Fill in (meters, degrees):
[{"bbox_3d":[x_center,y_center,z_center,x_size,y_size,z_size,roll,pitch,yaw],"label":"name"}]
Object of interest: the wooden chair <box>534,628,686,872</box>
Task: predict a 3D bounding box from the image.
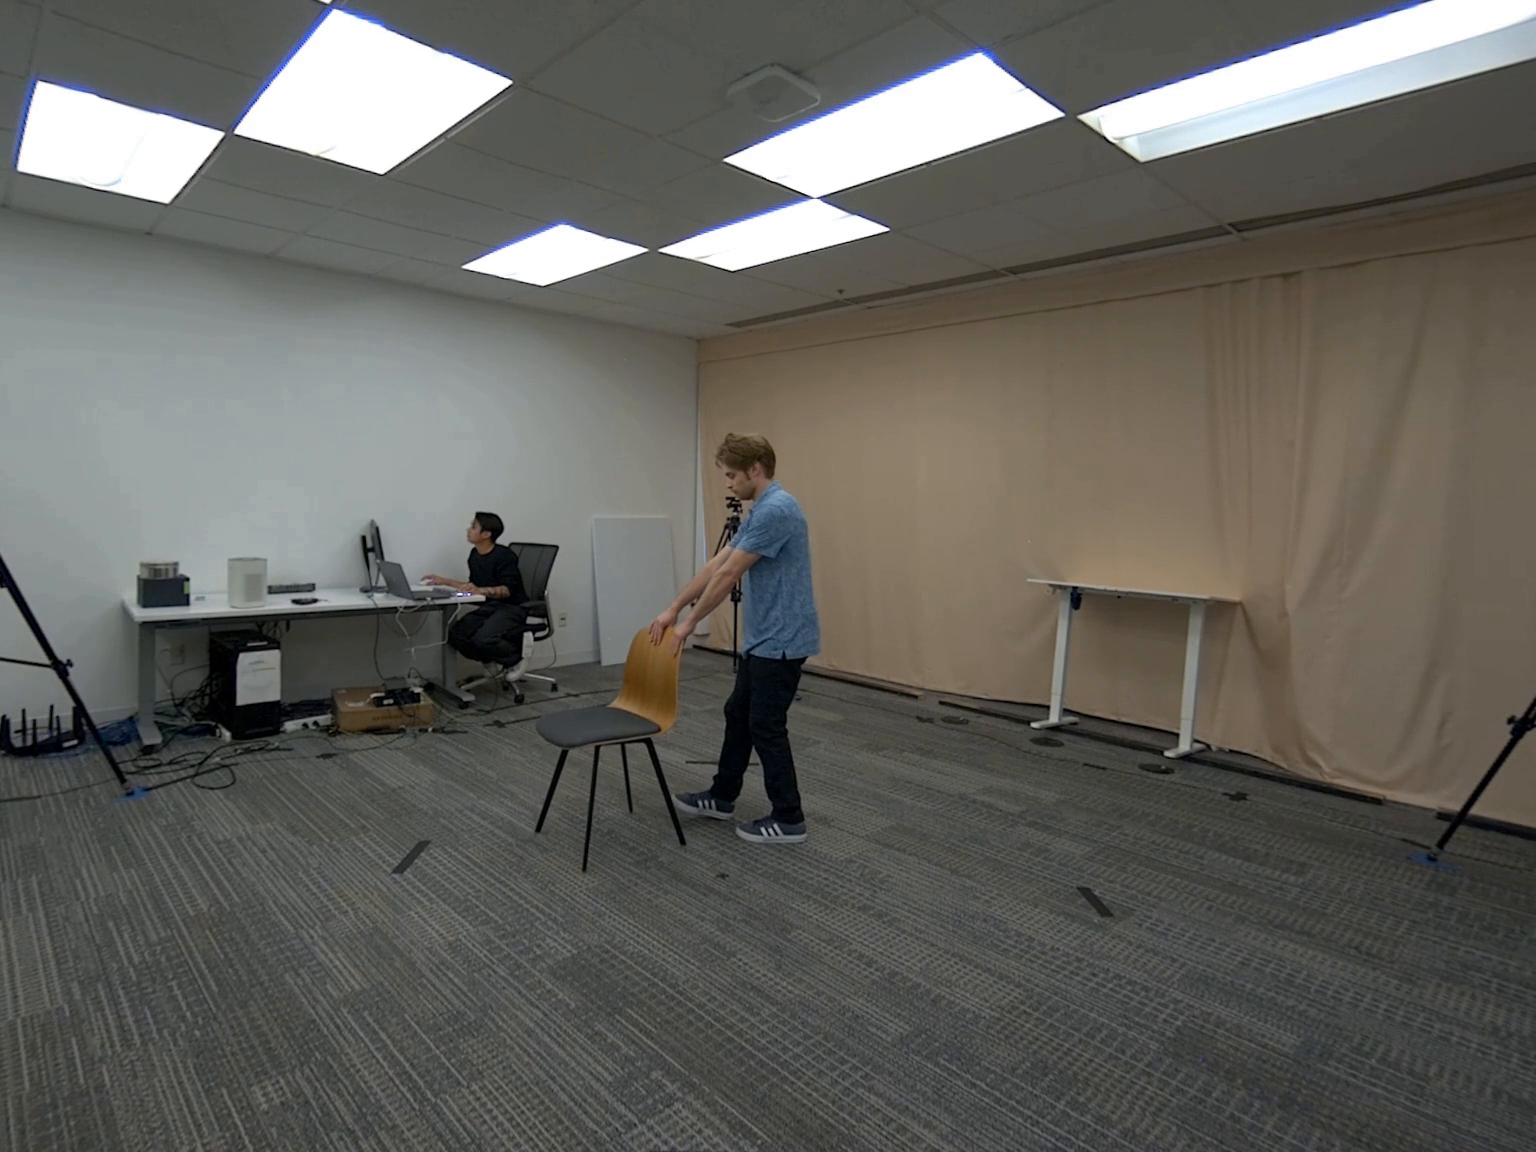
[{"bbox_3d":[-0.644,0.643,3.382,0.510,0.877,0.490,4,1,-38],"label":"wooden chair"}]
